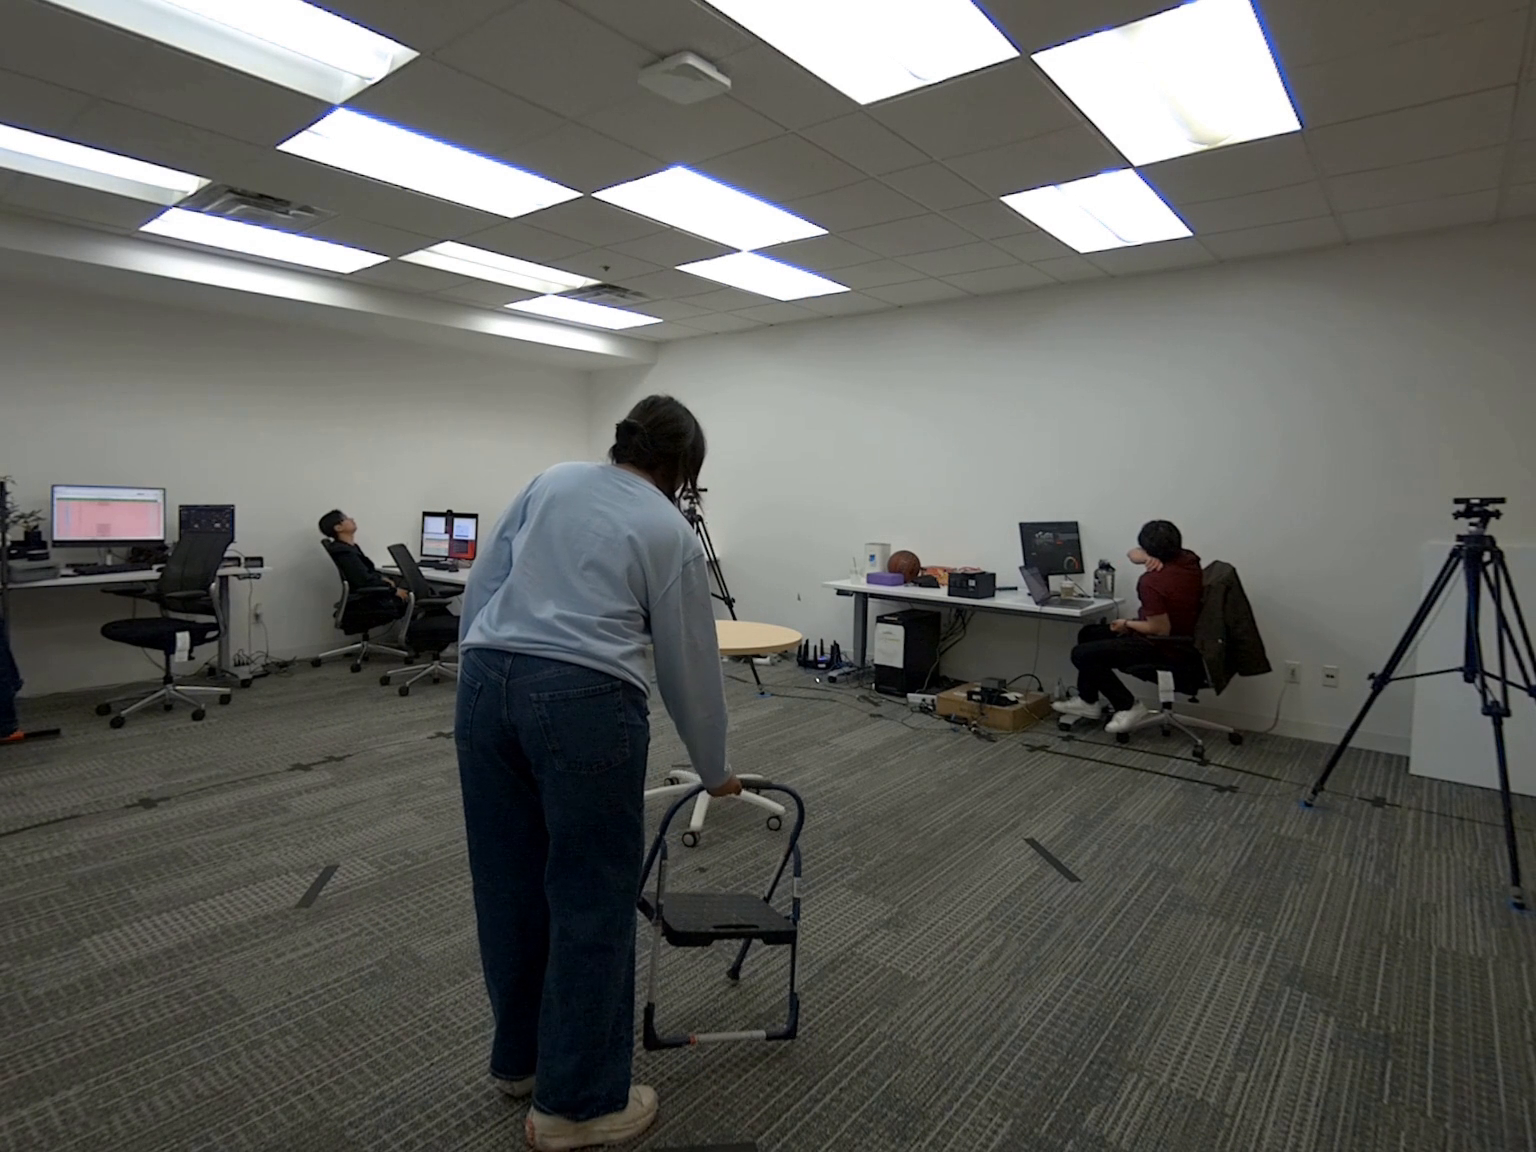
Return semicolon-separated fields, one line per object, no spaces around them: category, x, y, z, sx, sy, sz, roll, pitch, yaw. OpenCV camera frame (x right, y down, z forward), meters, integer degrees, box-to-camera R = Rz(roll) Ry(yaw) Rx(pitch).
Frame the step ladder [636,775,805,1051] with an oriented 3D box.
step ladder;-0.140;0.802;2.184;0.417;0.607;0.359;11;-3;-29
